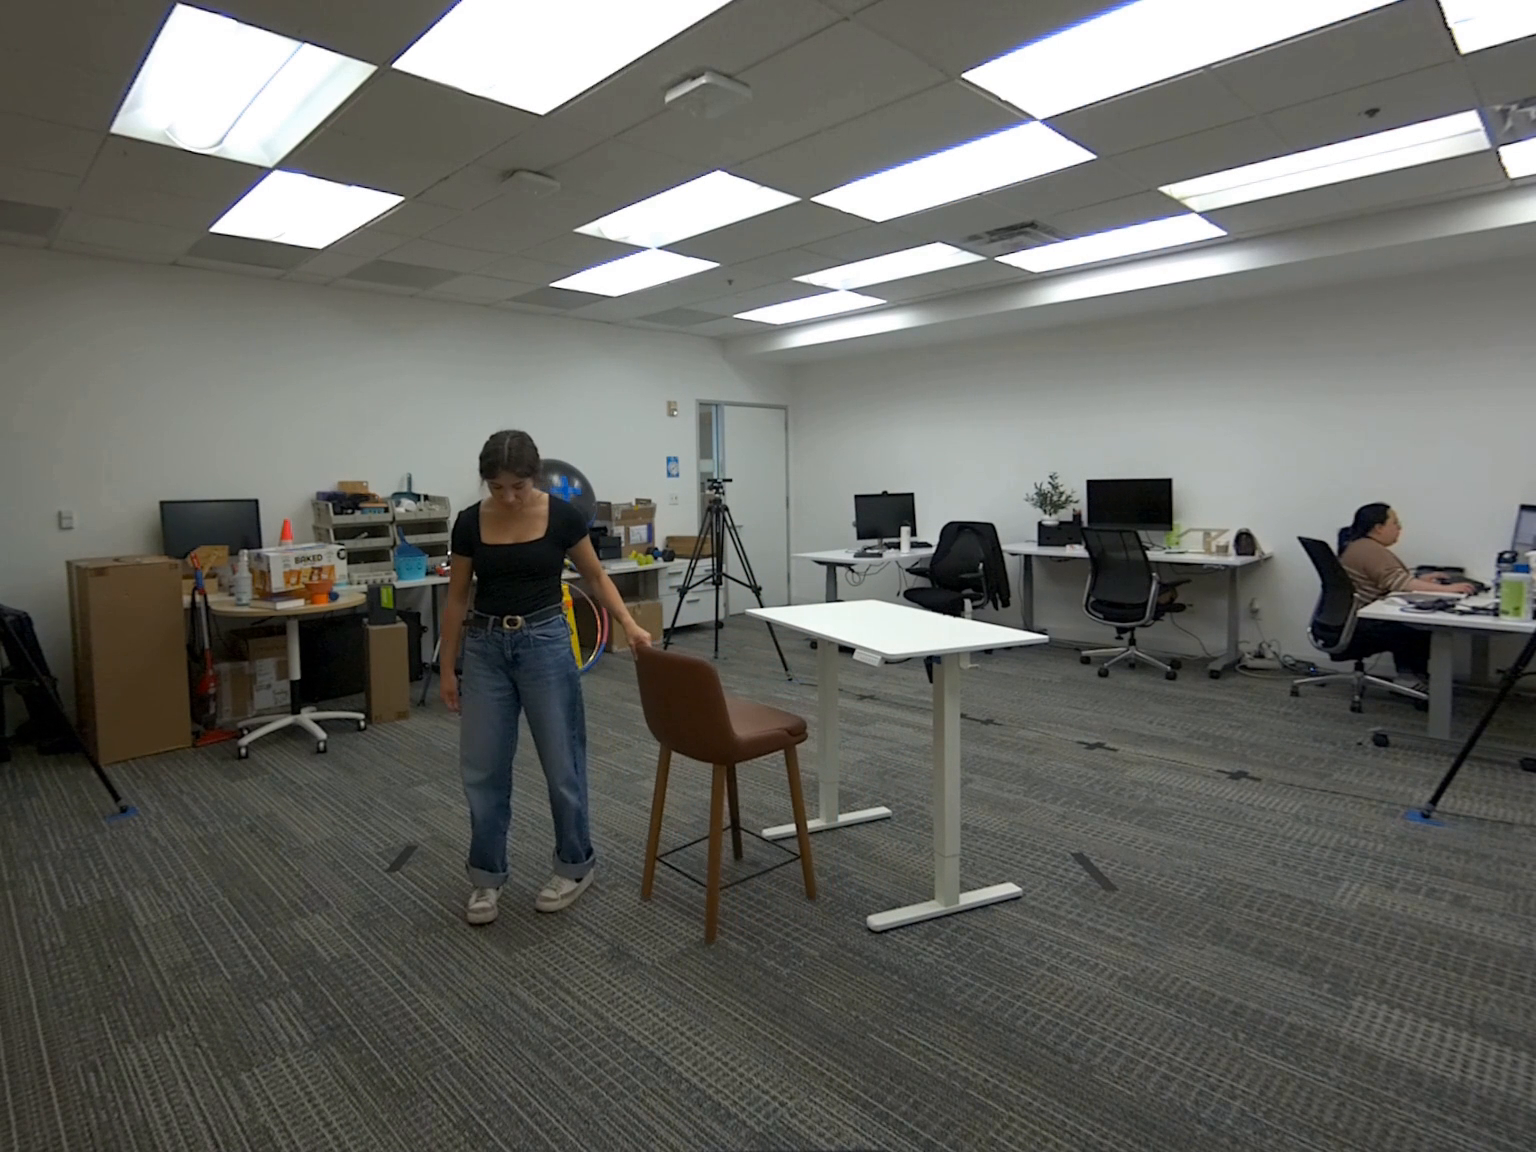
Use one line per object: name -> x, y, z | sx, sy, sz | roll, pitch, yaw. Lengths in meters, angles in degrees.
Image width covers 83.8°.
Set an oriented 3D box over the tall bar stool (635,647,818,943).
tall bar stool -> -0.149, 0.640, 2.820 | 0.456, 0.885, 0.470 | -8, 8, -40
